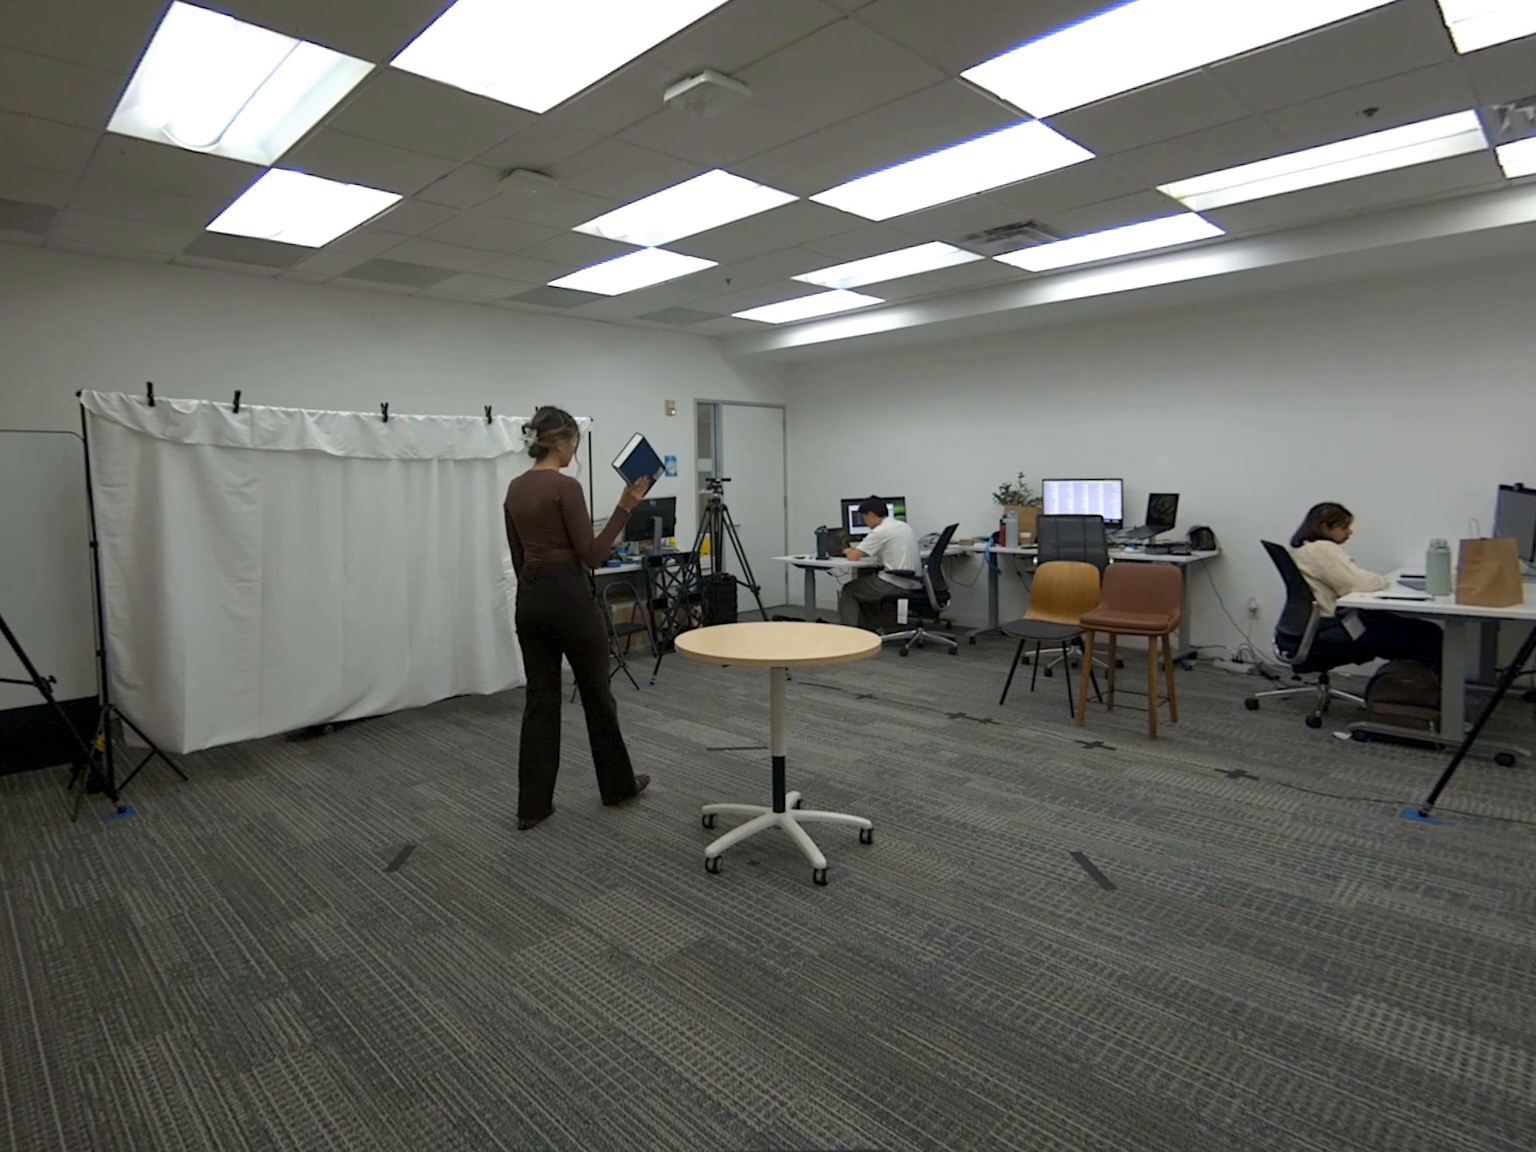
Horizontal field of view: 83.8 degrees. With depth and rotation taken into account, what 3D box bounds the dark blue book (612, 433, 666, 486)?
[{"bbox_3d":[-0.502,-0.436,3.374,0.046,0.164,0.237,30,-13,26],"label":"dark blue book"}]
